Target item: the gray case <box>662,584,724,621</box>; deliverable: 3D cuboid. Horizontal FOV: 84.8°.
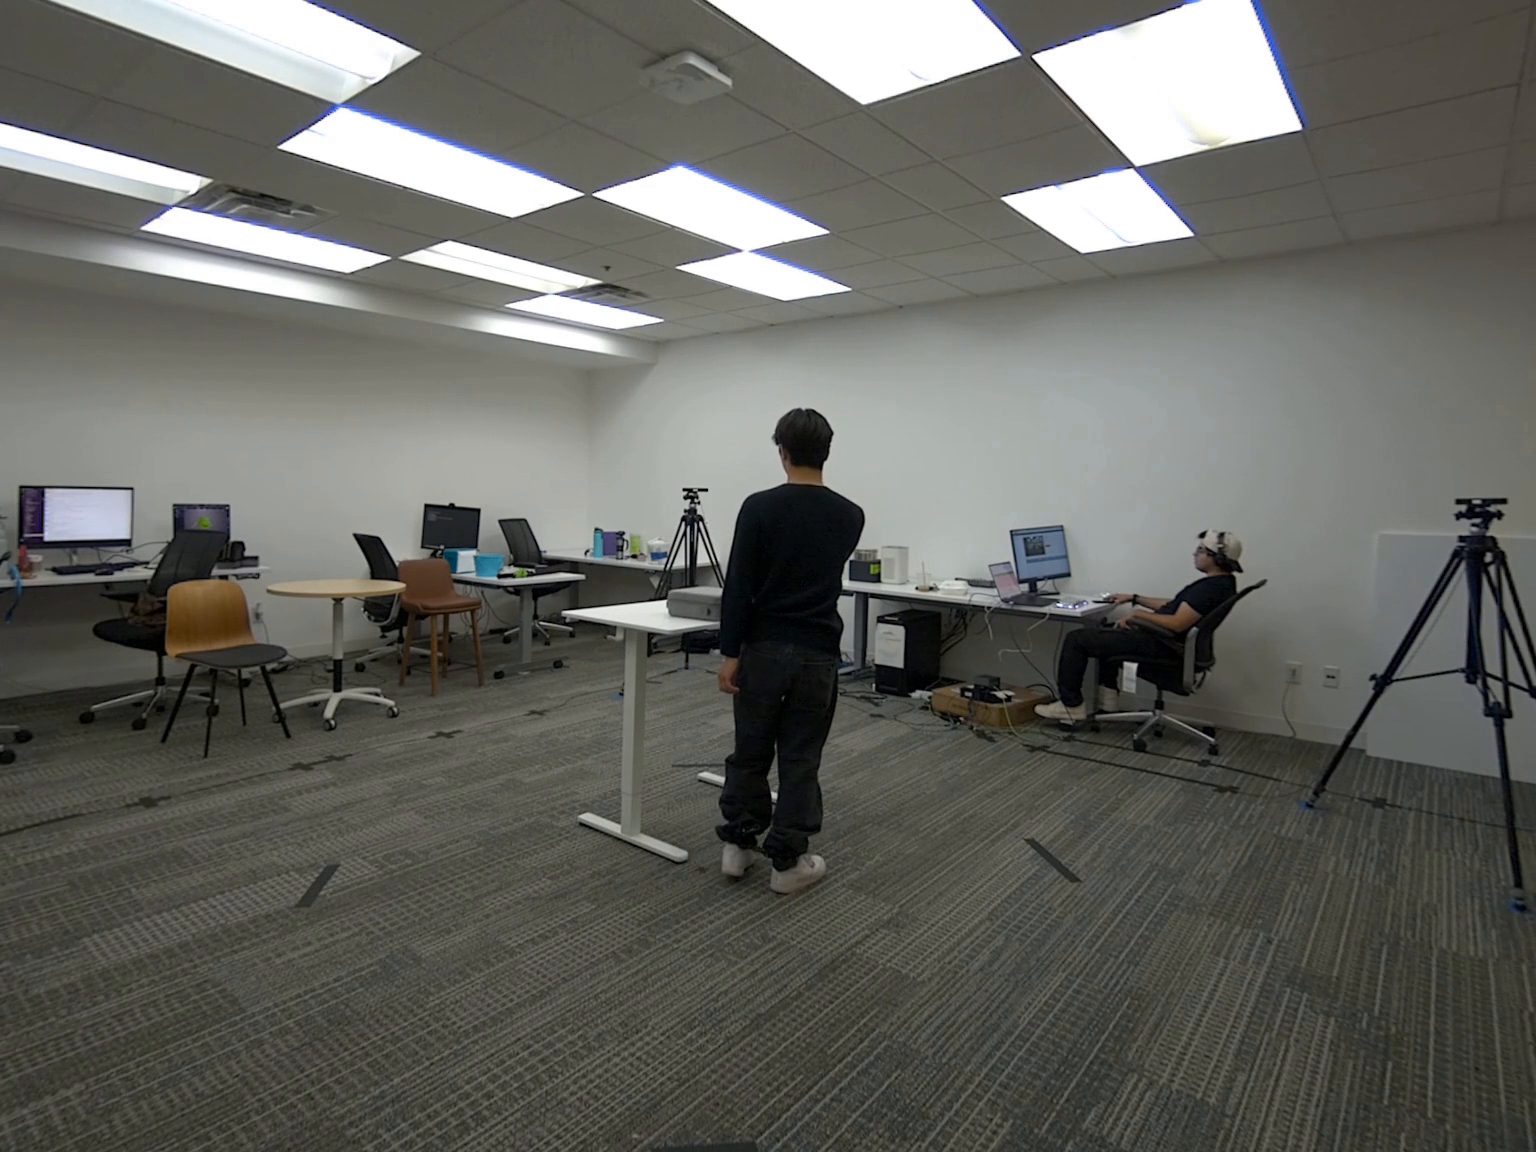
[{"bbox_3d":[-0.248,0.103,3.409,0.269,0.104,0.250,5,4,31],"label":"gray case"}]
